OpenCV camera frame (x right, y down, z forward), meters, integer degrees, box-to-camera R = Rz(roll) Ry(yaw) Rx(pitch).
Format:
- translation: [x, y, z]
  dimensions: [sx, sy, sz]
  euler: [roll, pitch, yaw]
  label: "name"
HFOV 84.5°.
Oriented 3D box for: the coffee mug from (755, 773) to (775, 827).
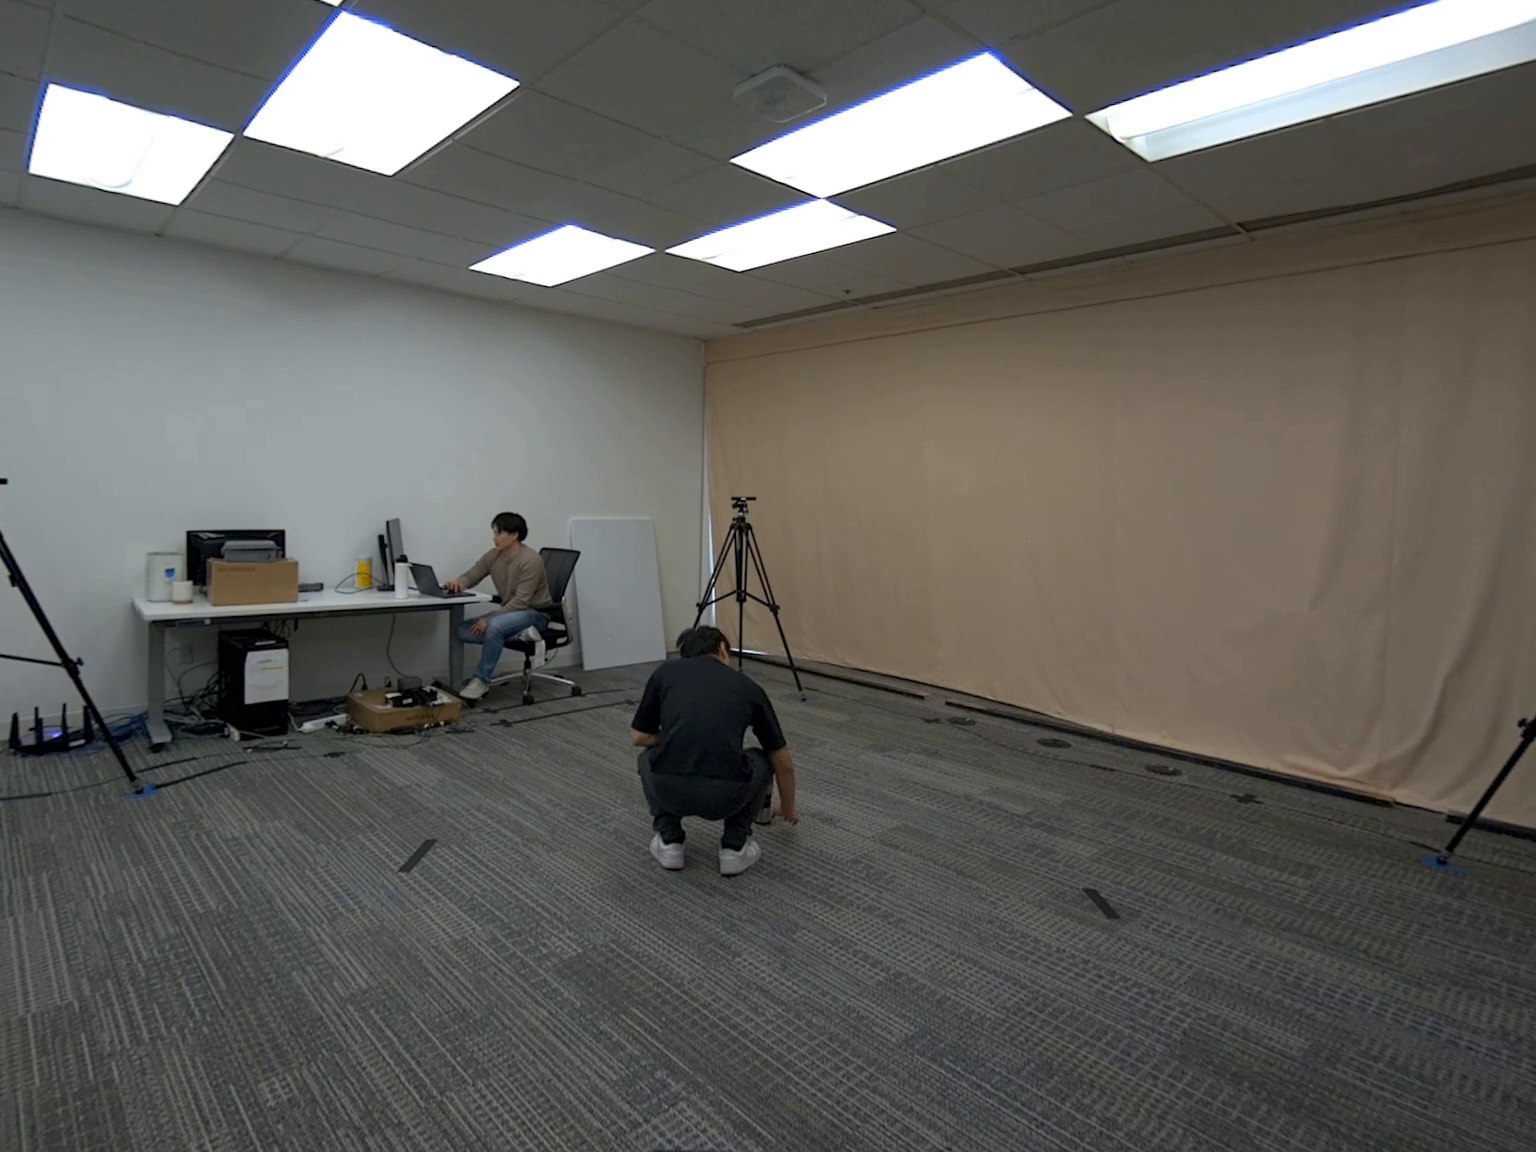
- translation: [-0.041, 0.970, 3.620]
  dimensions: [0.119, 0.203, 0.090]
  euler: [5, 1, -45]
  label: "coffee mug"
